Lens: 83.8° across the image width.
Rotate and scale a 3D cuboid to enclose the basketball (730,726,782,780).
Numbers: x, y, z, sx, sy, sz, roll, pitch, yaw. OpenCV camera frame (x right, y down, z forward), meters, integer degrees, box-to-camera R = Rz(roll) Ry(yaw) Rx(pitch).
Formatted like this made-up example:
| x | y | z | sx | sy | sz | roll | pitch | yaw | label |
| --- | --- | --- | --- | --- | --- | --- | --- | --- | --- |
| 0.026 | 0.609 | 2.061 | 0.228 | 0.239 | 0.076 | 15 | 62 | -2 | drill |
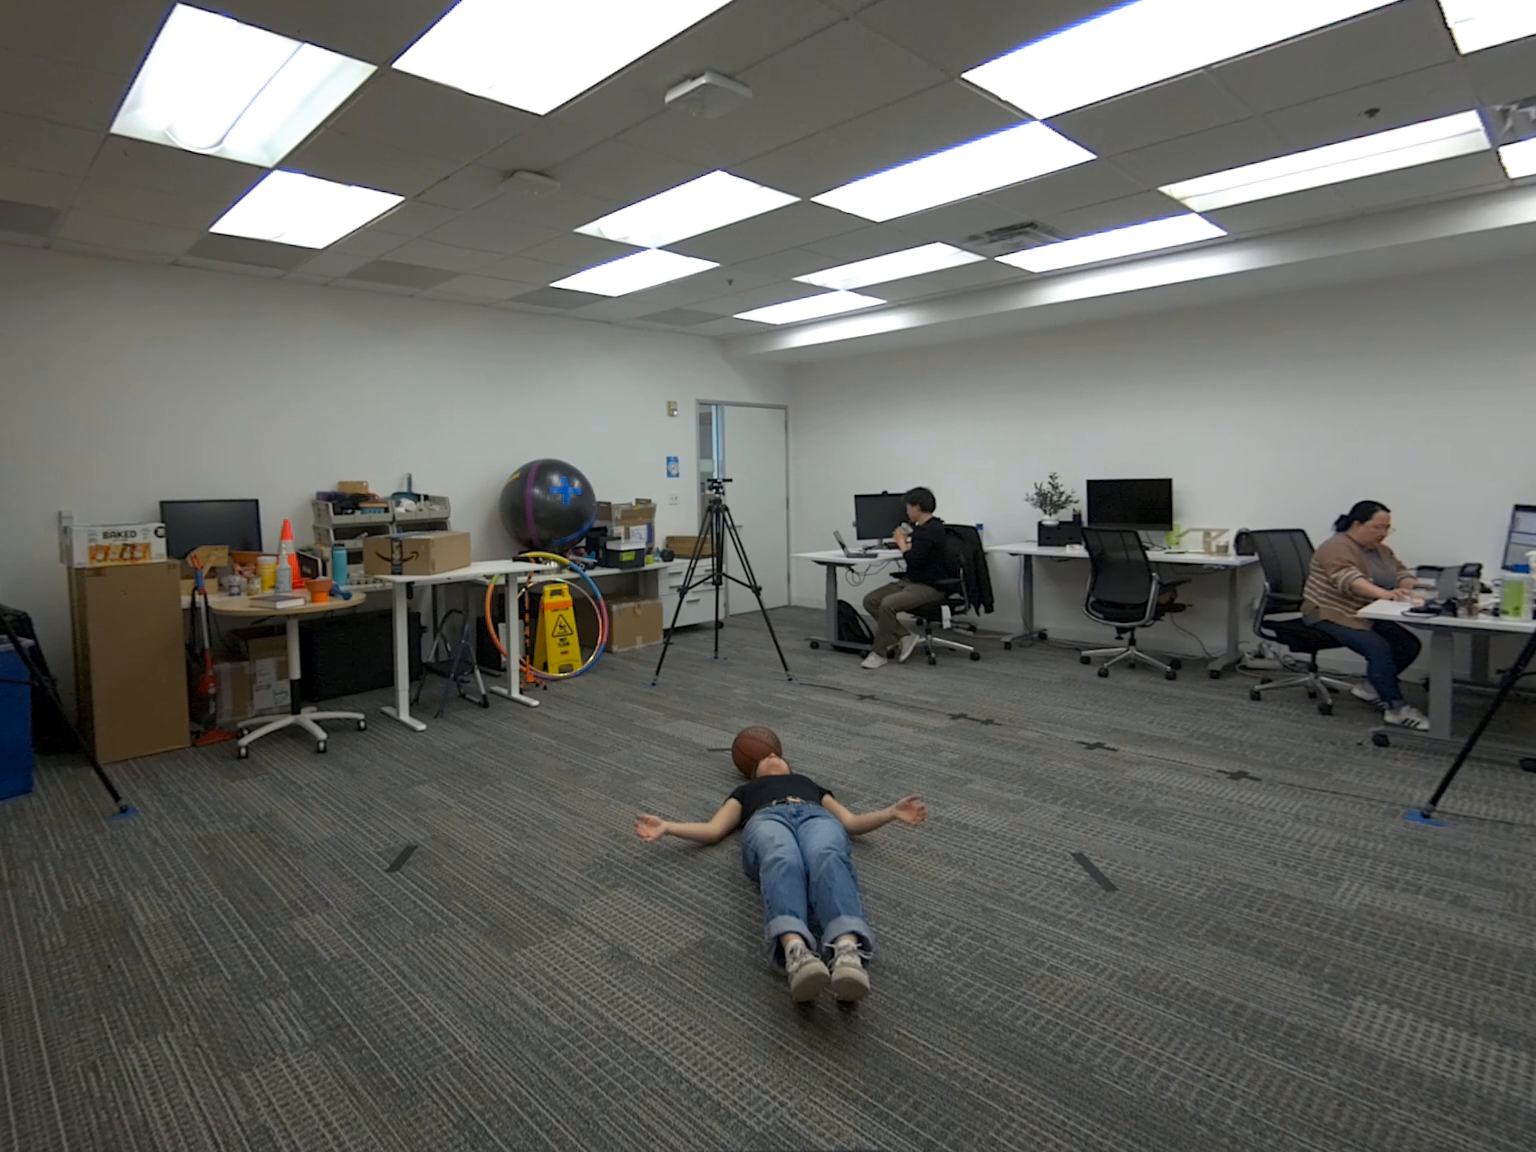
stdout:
| x | y | z | sx | sy | sz | roll | pitch | yaw | label |
| --- | --- | --- | --- | --- | --- | --- | --- | --- | --- |
| -0.055 | 0.819 | 4.013 | 0.236 | 0.235 | 0.237 | -1 | 5 | -2 | basketball |
